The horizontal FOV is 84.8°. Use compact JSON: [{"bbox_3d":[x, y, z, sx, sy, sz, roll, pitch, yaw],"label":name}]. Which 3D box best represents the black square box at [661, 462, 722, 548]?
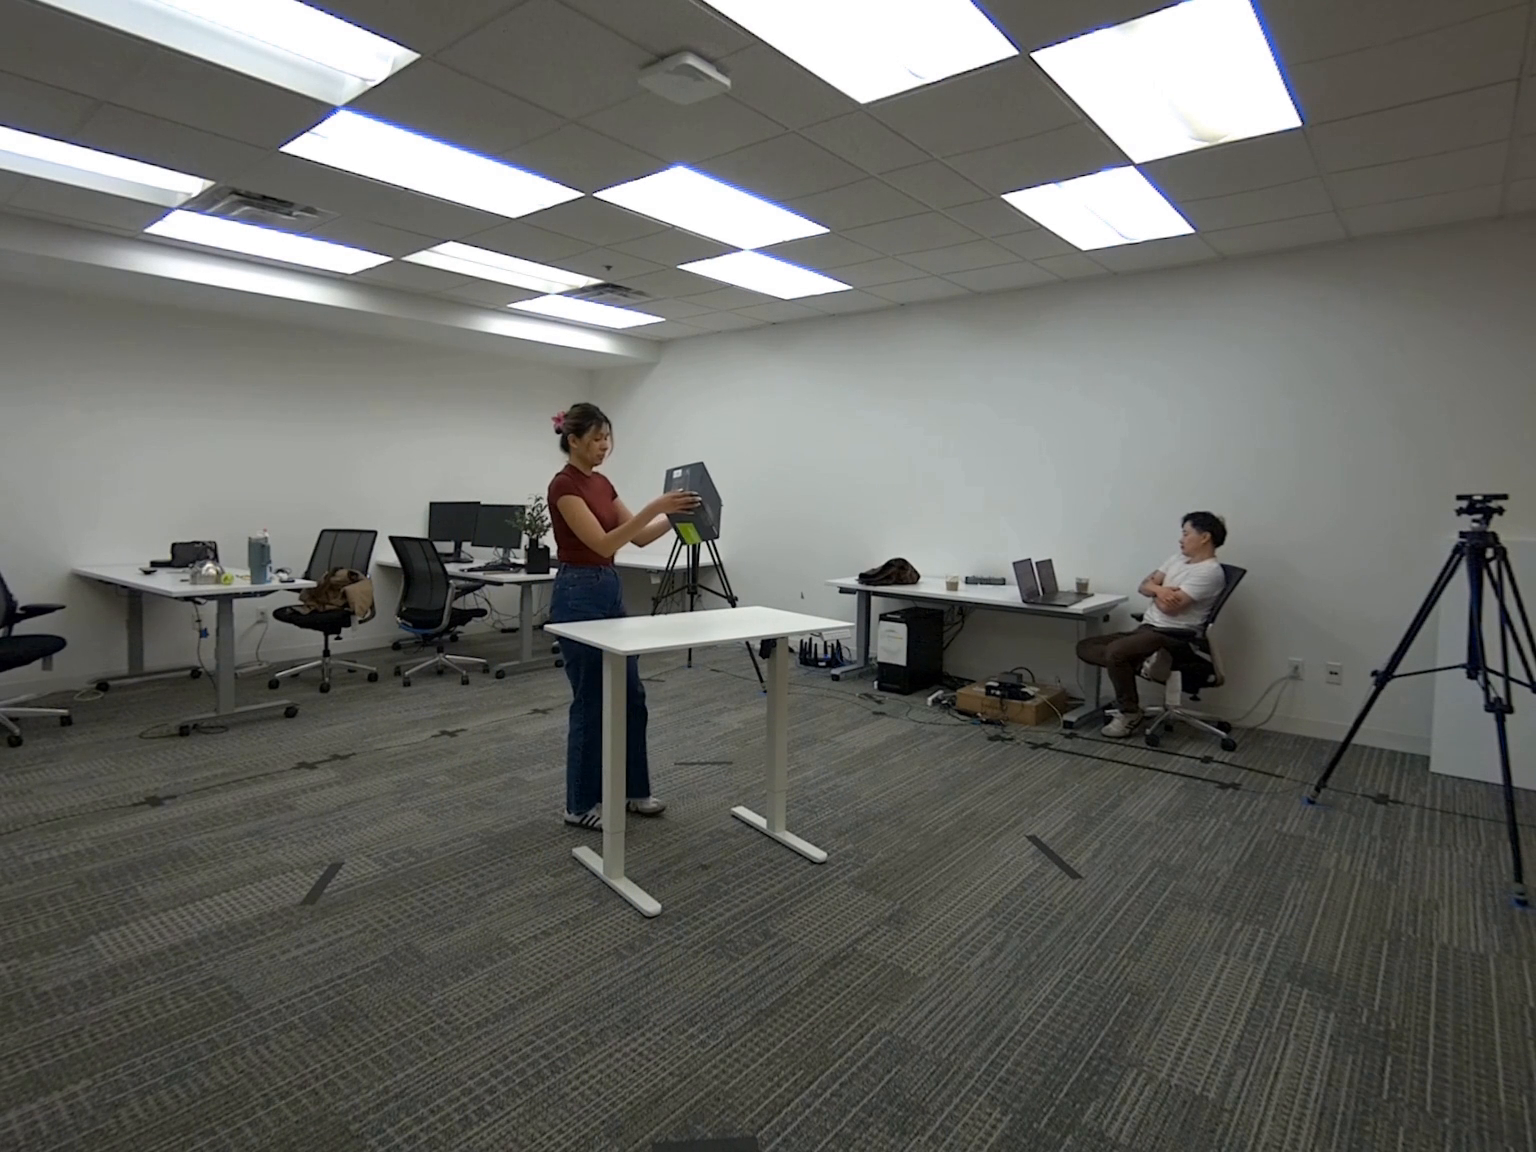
[{"bbox_3d":[-0.305,-0.283,3.327,0.158,0.219,0.222,-9,44,14],"label":"black square box"}]
